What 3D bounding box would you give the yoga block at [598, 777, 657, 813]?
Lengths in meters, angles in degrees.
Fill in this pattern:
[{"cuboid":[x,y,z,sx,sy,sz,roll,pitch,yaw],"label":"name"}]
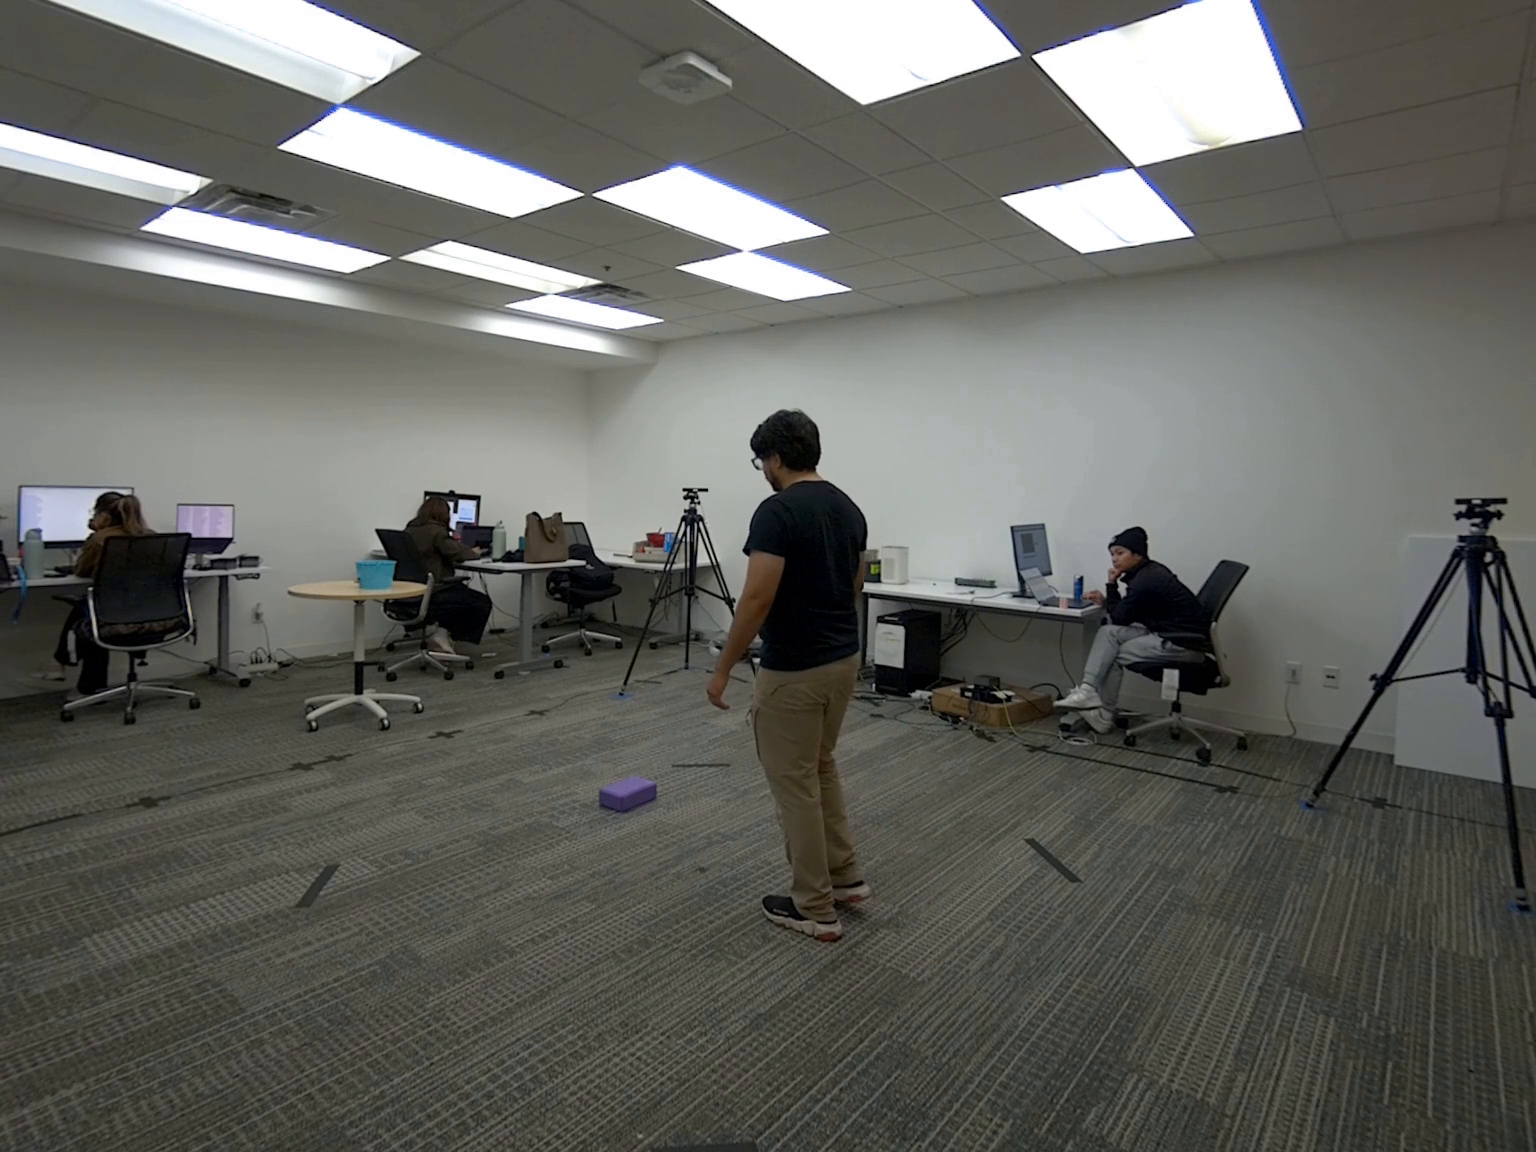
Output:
[{"cuboid":[-0.632,0.960,3.767,0.154,0.076,0.223,3,6,36],"label":"yoga block"}]
